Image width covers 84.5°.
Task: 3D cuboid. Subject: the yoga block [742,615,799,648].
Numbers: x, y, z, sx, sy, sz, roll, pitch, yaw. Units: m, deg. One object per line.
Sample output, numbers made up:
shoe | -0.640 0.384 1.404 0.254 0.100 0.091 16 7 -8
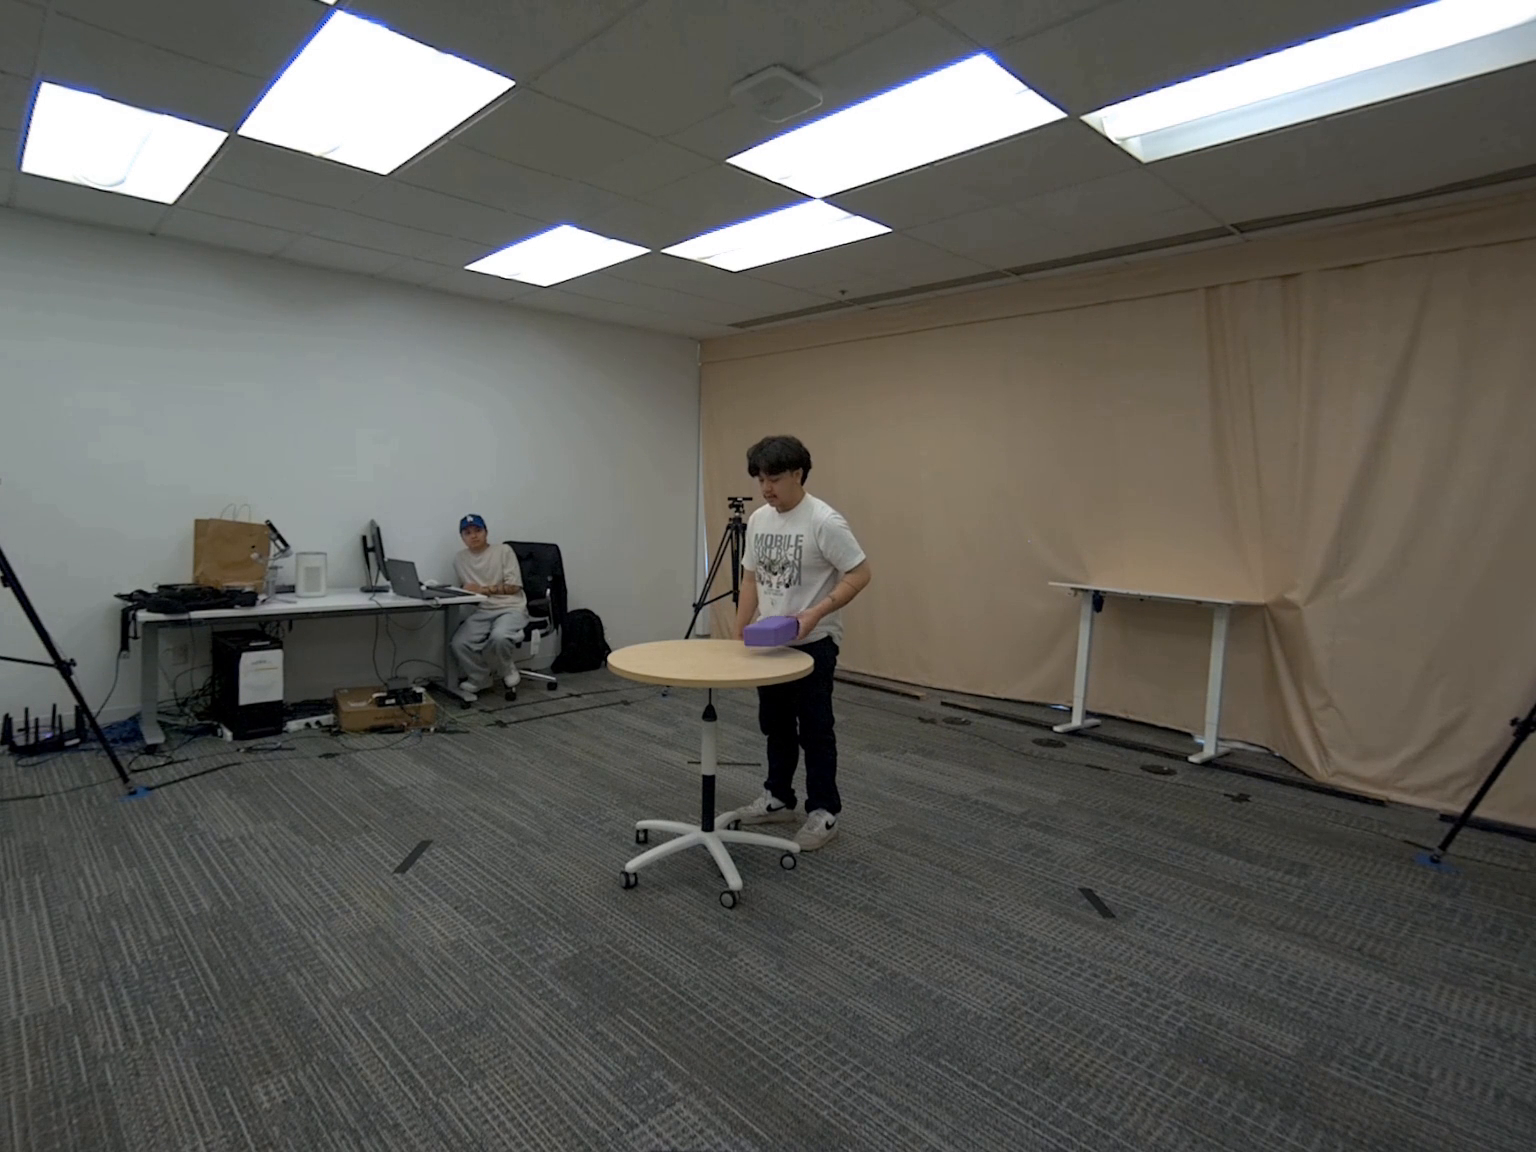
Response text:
yoga block | -0.009 0.208 3.251 0.152 0.076 0.226 -3 7 26
